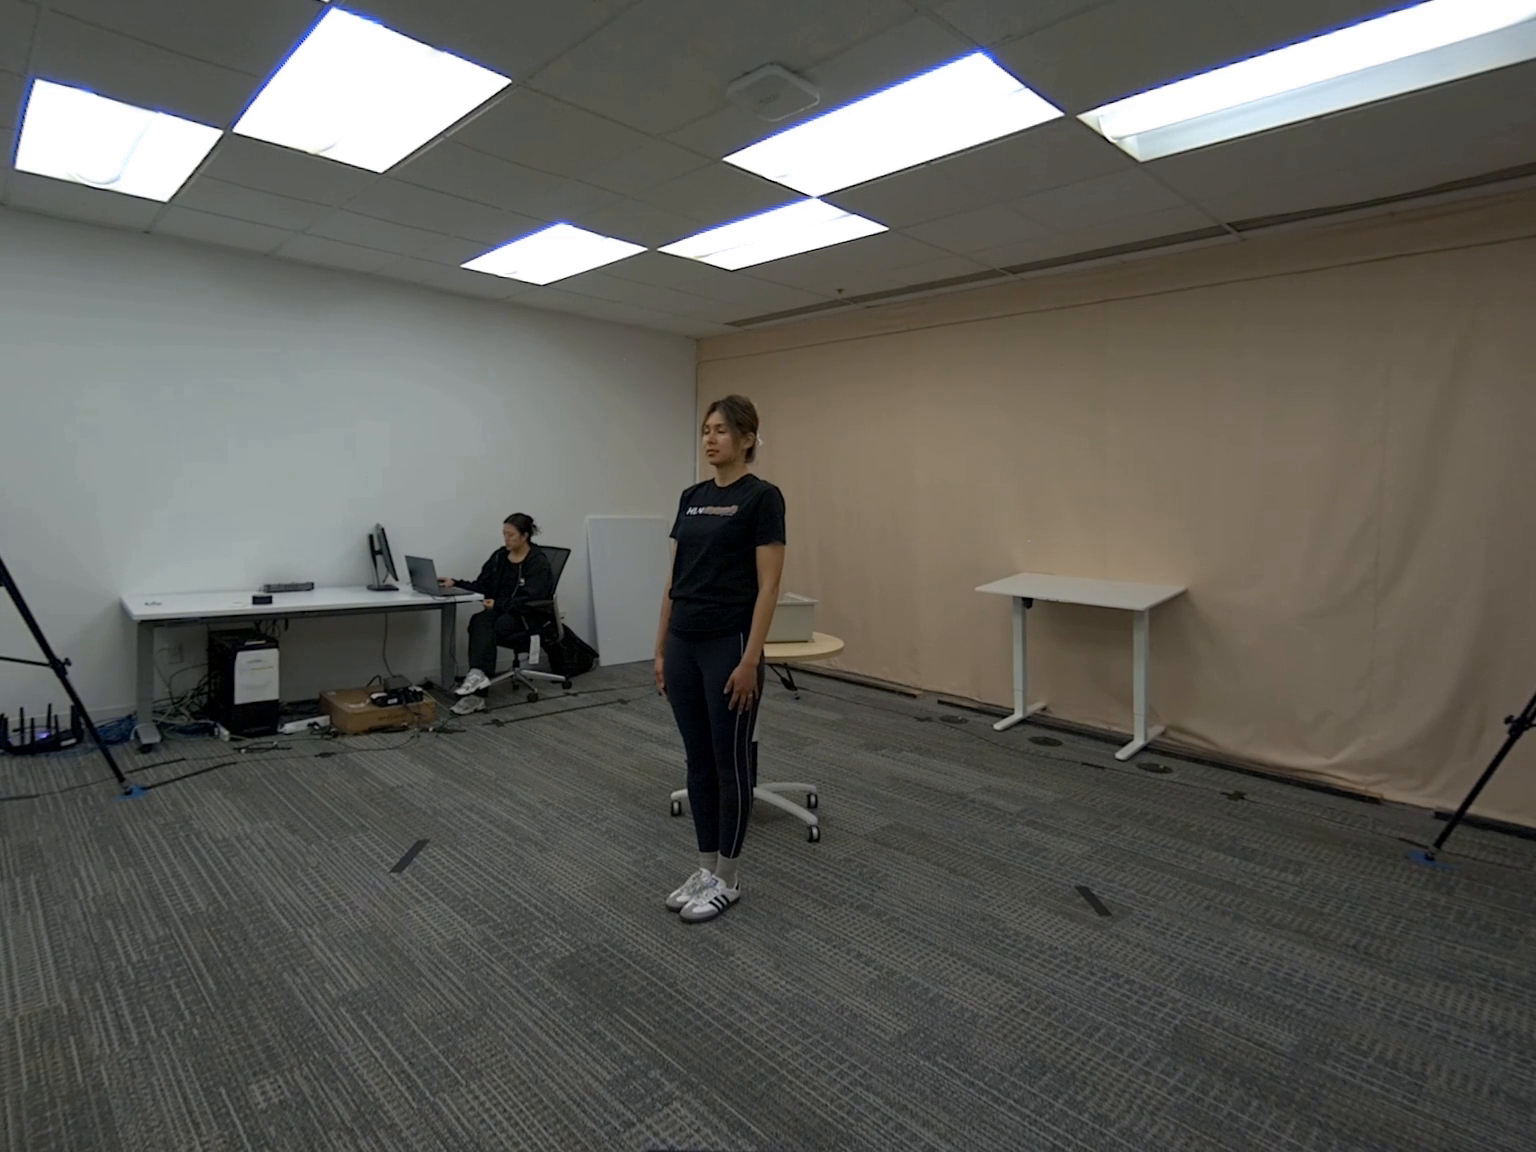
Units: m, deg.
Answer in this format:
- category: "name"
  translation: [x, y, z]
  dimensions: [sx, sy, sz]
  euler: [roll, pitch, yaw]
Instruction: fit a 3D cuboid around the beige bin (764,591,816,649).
- category: "beige bin"
  translation: [-0.072, 0.184, 3.706]
  dimensions: [0.416, 0.188, 0.384]
  euler: [0, 6, -20]
